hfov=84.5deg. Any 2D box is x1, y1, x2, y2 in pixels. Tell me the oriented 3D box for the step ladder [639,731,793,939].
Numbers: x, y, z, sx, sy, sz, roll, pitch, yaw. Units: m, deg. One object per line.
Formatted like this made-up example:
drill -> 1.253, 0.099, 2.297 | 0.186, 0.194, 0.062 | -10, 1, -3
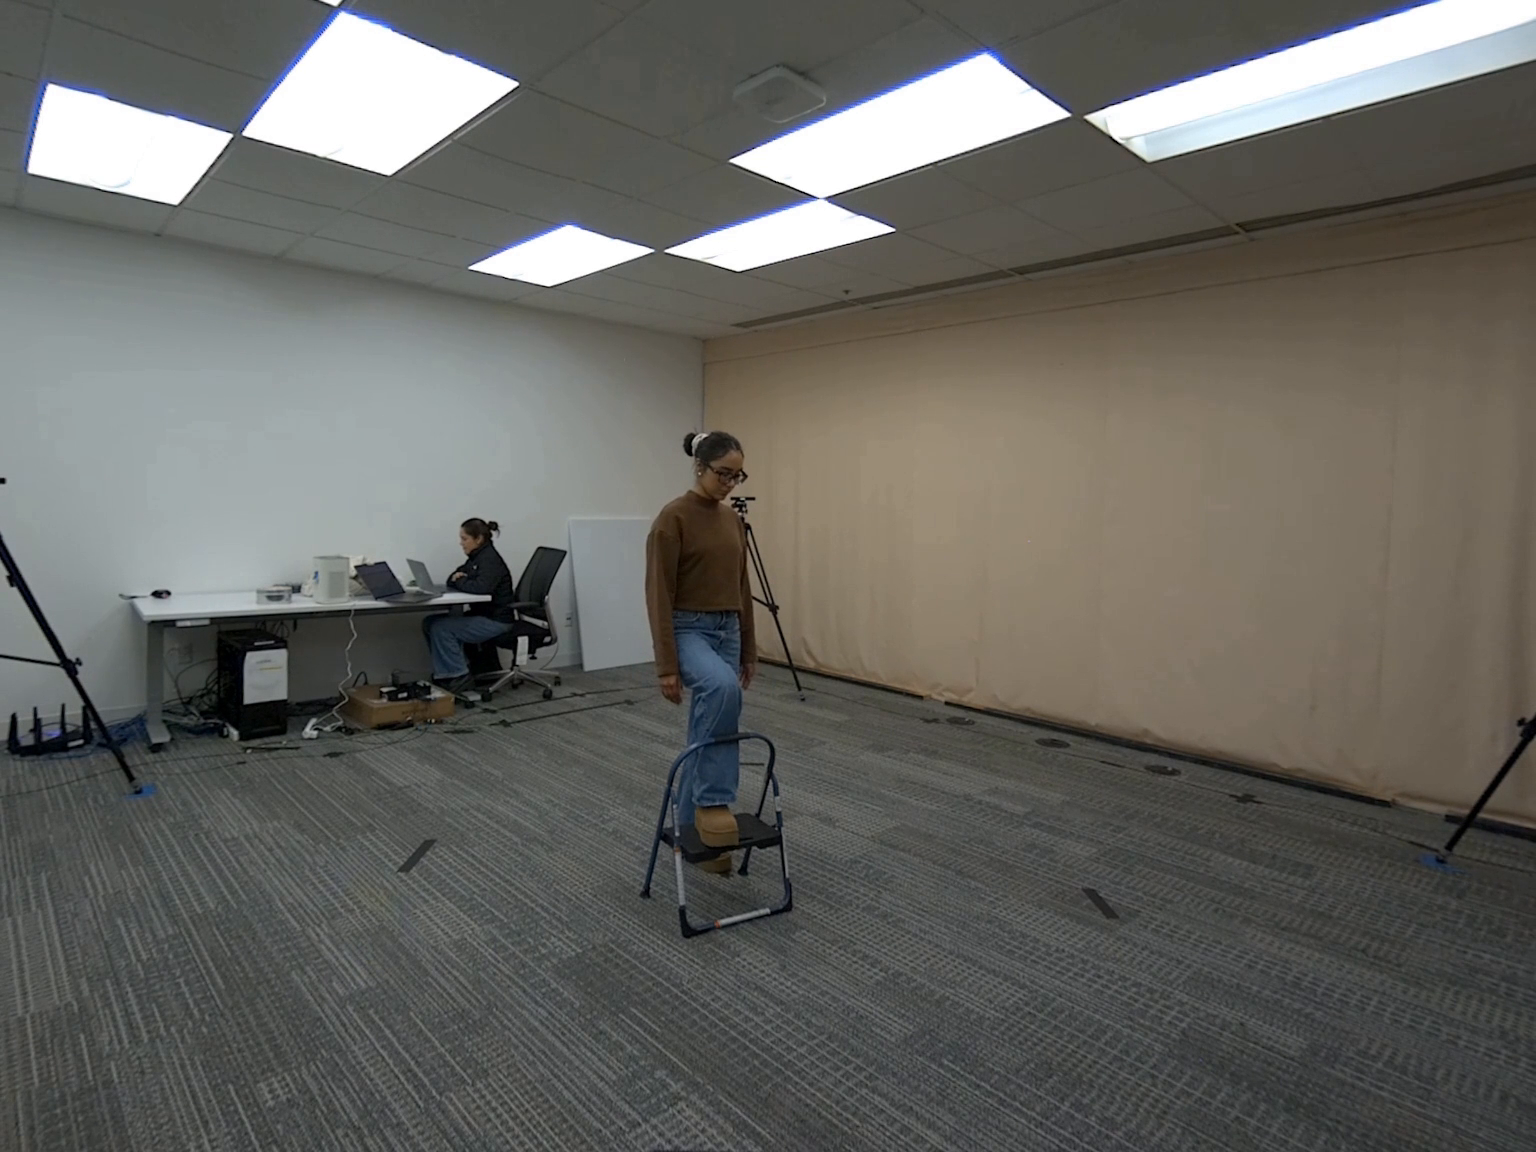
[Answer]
step ladder -> -0.177, 0.825, 2.880 | 0.422, 0.604, 0.357 | -1, 4, -32
